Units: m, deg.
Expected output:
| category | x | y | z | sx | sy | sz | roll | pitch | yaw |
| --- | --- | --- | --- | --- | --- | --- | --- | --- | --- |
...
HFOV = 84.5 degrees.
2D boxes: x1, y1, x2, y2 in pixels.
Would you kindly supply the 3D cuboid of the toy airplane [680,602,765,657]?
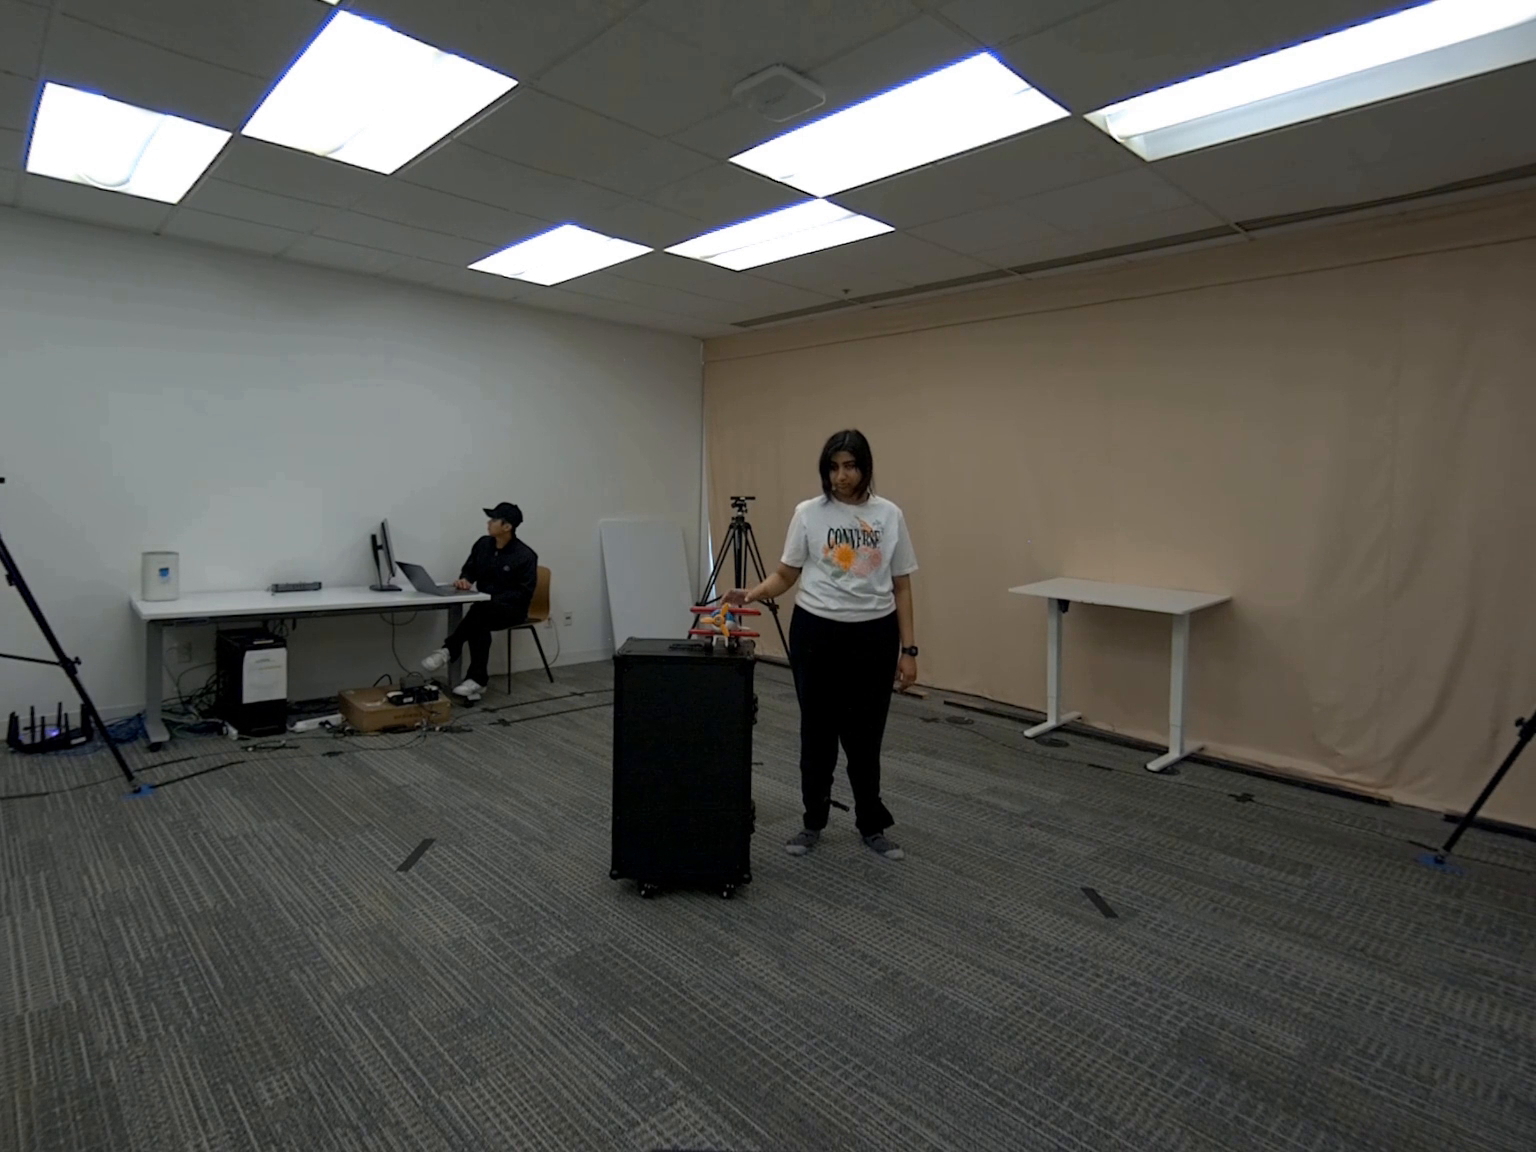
| category | x | y | z | sx | sy | sz | roll | pitch | yaw |
| --- | --- | --- | --- | --- | --- | --- | --- | --- | --- |
| toy airplane | -0.169 | 0.183 | 3.029 | 0.248 | 0.156 | 0.262 | -1 | 3 | -14 |
